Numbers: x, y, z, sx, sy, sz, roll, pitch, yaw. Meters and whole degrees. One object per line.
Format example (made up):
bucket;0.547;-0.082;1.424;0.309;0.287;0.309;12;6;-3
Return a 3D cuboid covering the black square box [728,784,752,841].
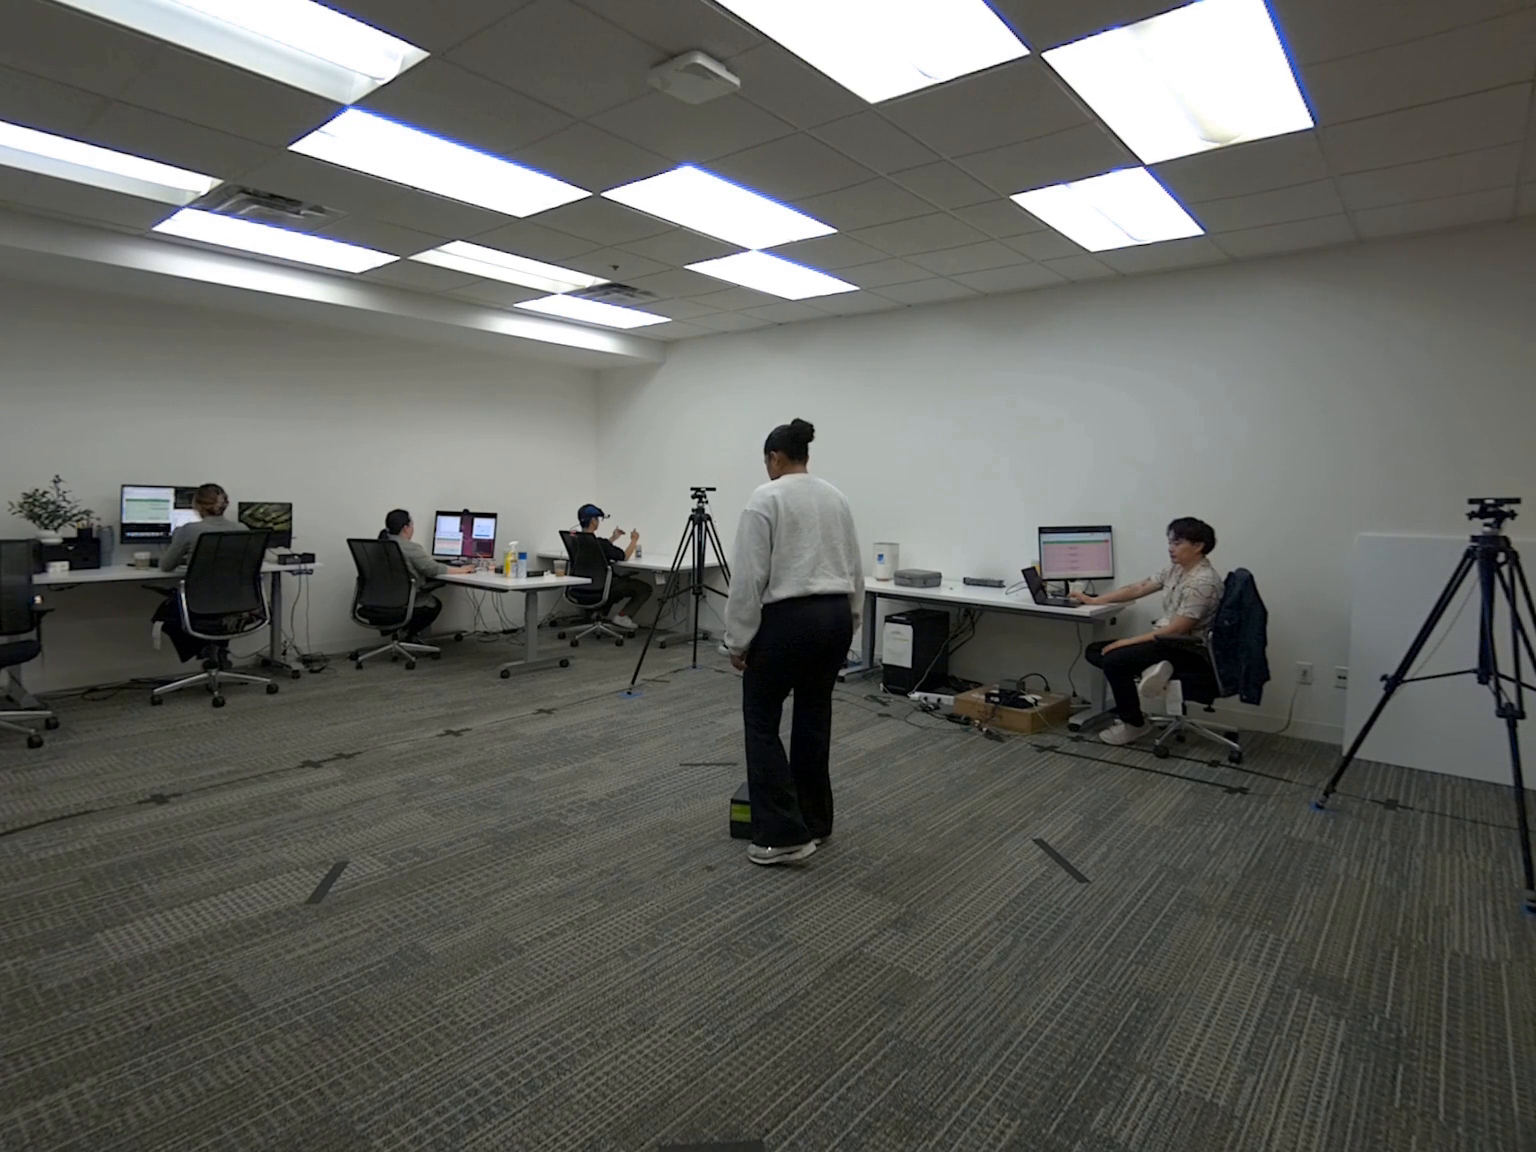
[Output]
black square box;-0.028;0.949;3.460;0.232;0.155;0.214;2;5;14
